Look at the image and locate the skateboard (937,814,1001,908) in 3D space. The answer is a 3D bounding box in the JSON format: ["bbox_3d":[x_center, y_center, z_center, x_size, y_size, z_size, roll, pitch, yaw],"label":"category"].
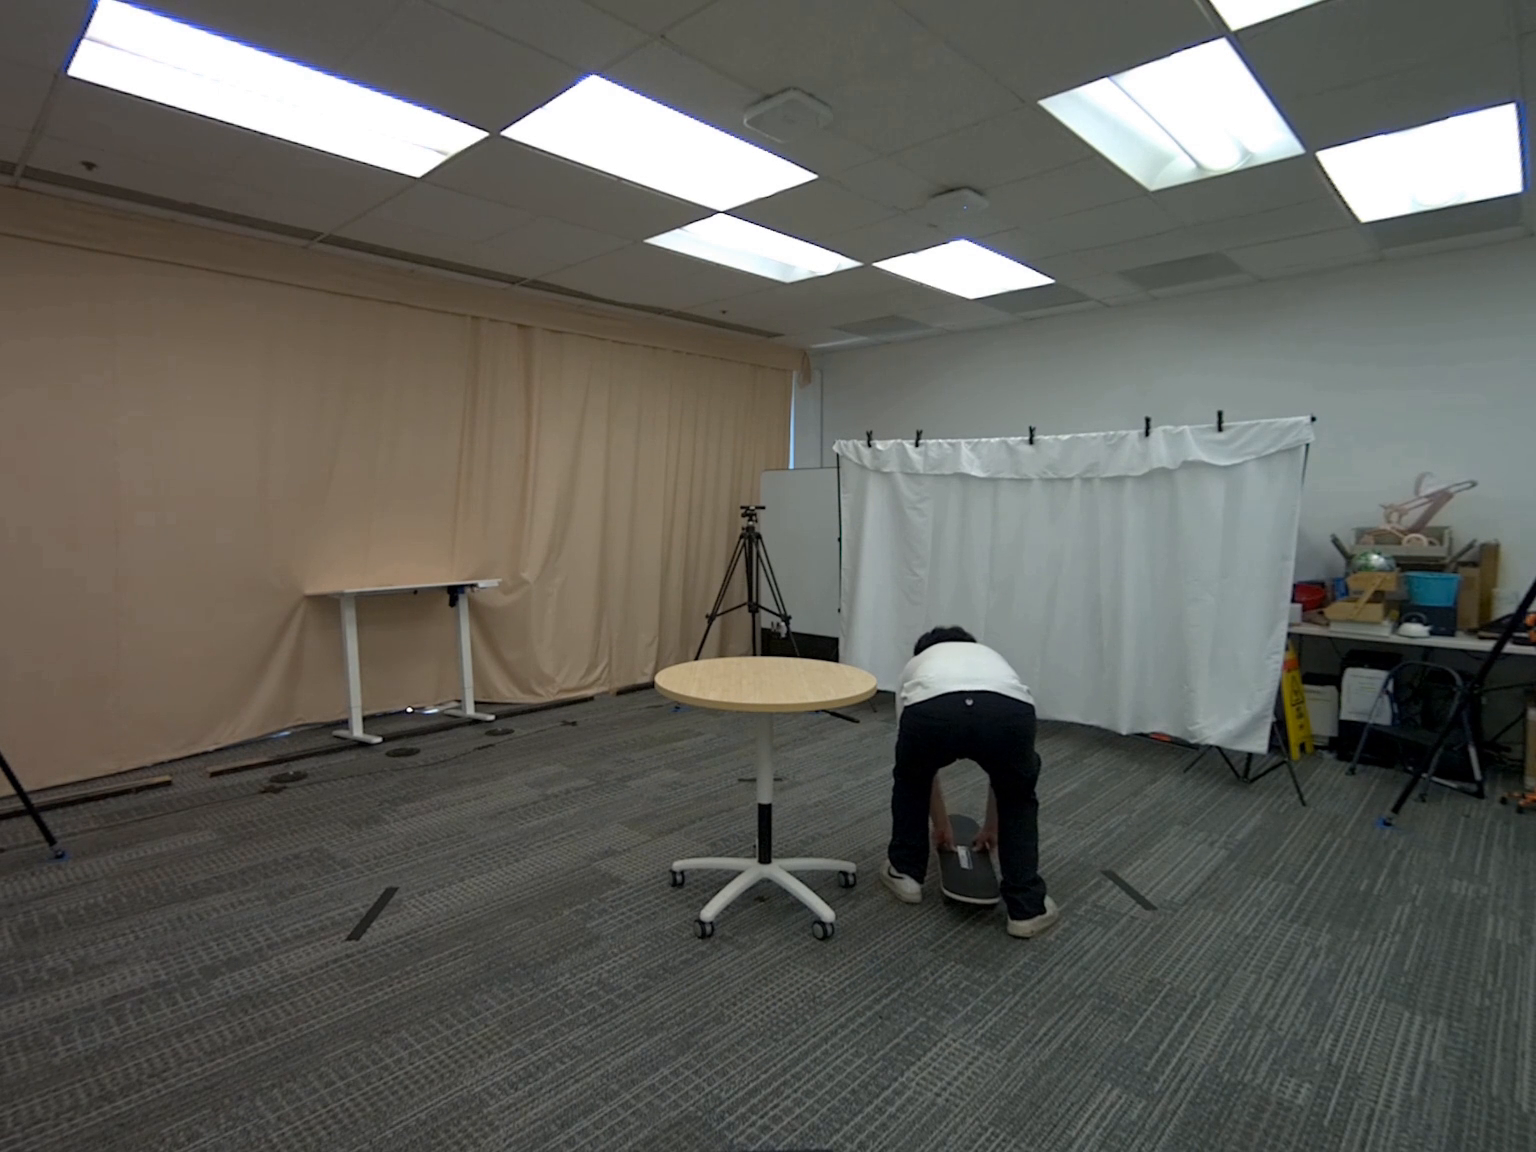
[{"bbox_3d":[0.727,1.077,3.122,0.195,0.110,0.779,1,5,8],"label":"skateboard"}]
